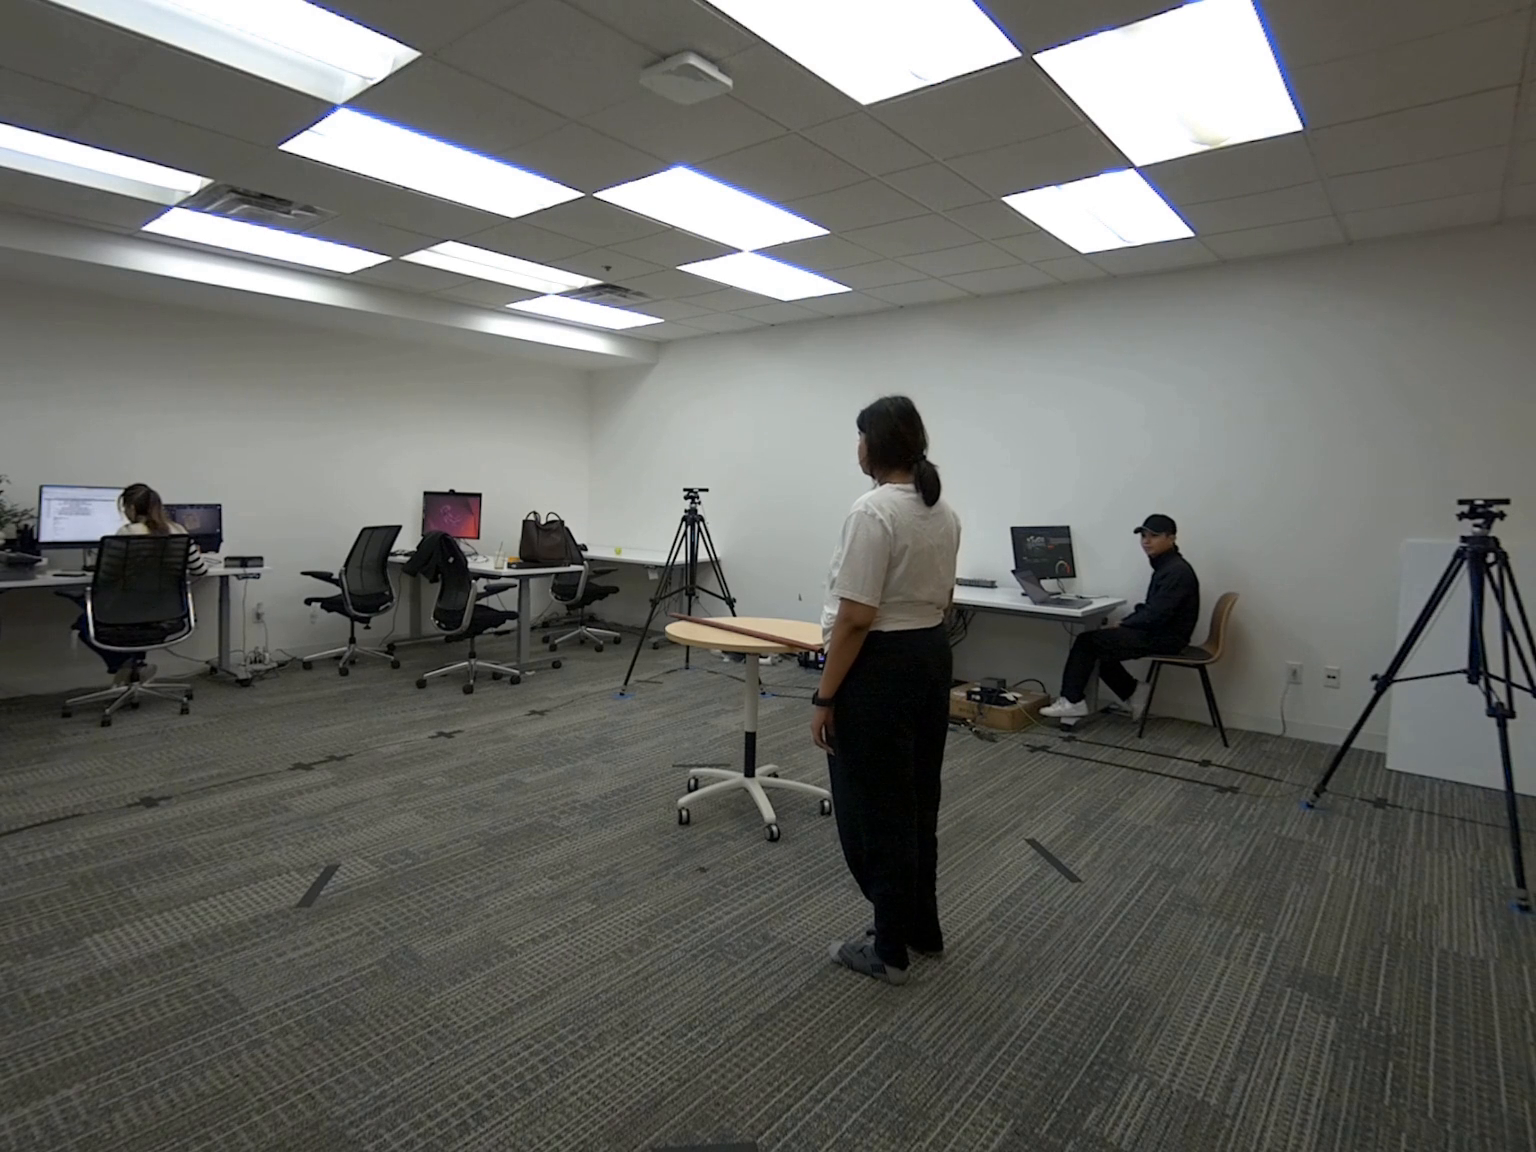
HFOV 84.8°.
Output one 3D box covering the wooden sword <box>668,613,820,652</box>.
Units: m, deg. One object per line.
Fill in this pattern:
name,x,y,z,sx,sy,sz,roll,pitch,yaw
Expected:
wooden sword,-0.137,0.229,3.572,0.050,0.024,1.060,2,5,-37
